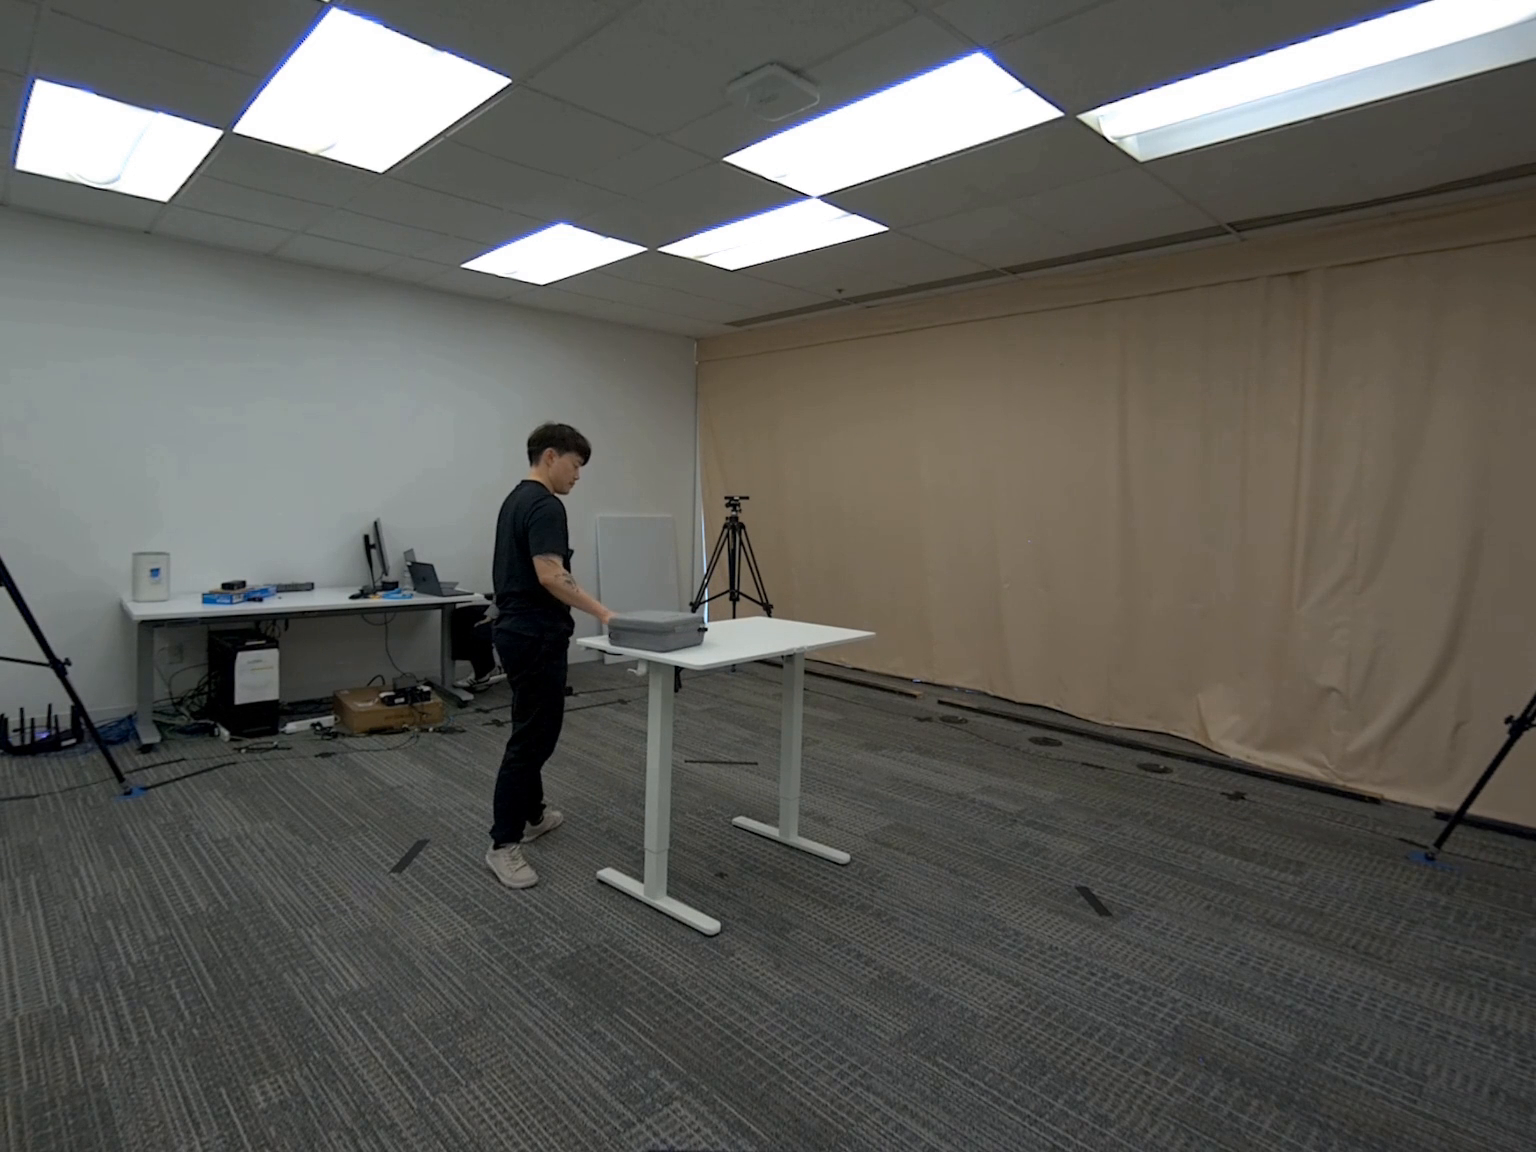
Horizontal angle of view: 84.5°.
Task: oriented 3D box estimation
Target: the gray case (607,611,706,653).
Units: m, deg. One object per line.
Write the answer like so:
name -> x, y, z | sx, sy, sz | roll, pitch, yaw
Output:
gray case -> -0.384, 0.183, 2.862 | 0.266, 0.104, 0.252 | 3, 6, 30
